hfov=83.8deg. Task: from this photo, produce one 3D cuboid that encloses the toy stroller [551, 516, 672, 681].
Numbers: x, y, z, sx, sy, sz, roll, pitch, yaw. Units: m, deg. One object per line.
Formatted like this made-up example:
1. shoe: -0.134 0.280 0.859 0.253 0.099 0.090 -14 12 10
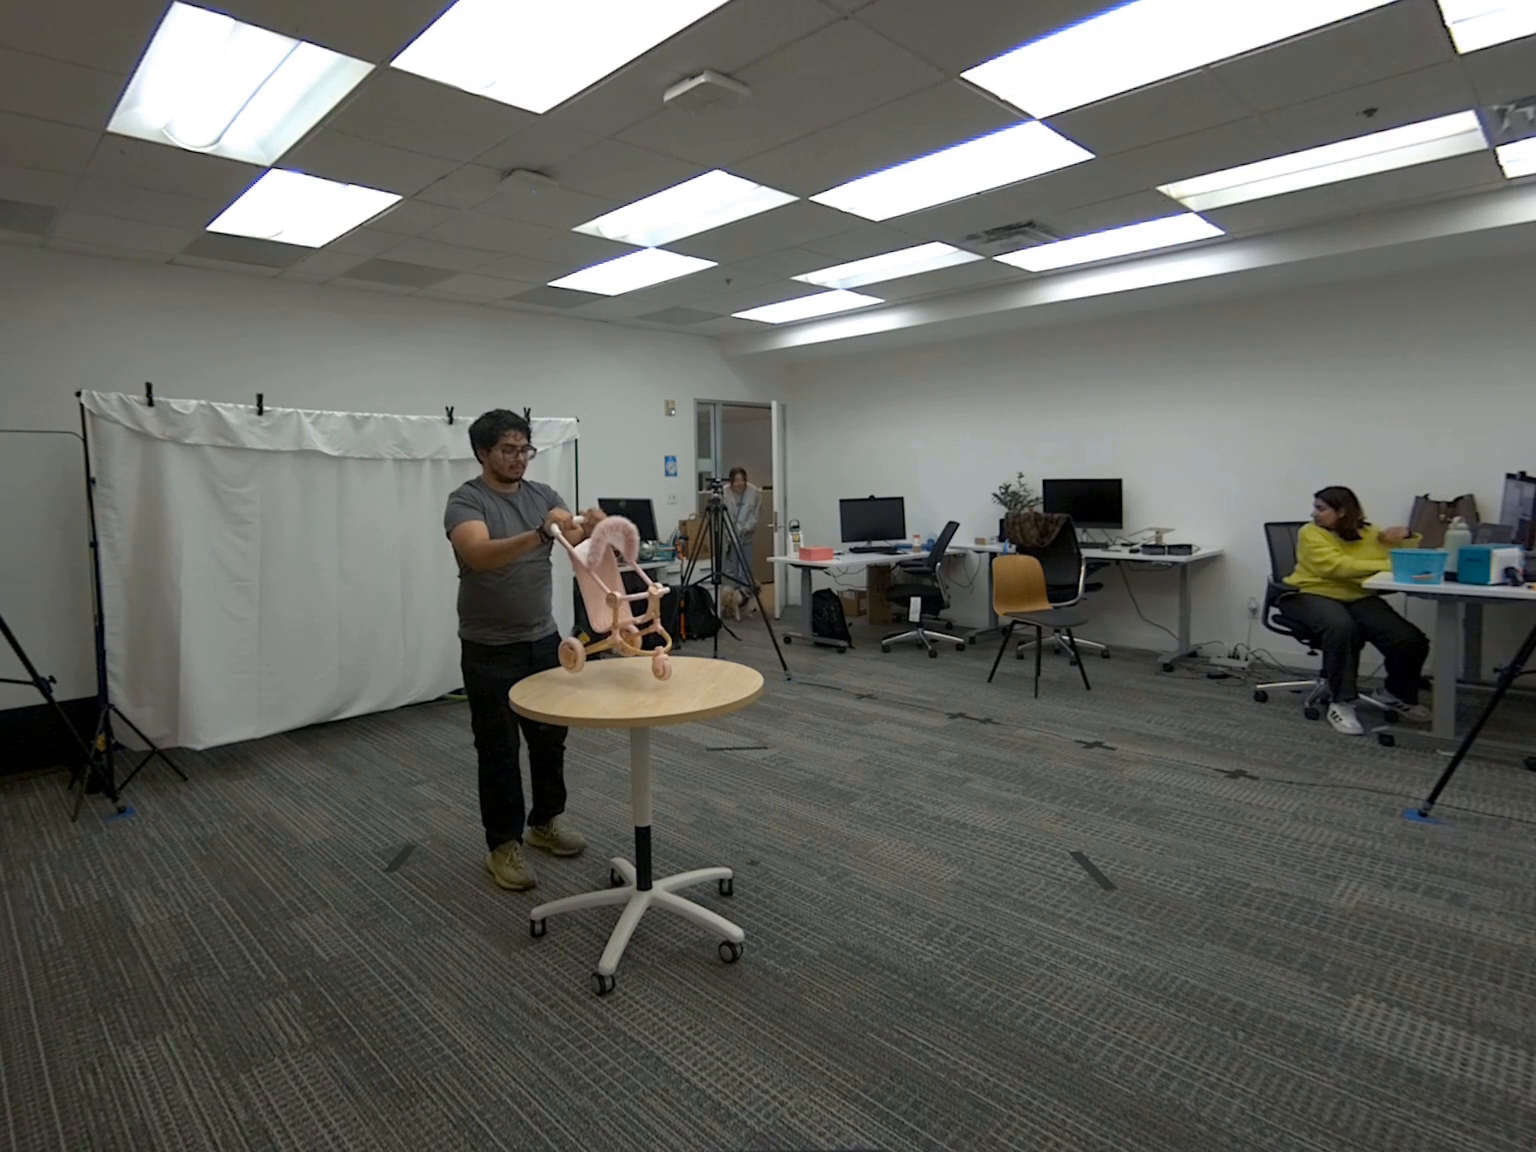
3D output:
1. toy stroller: -0.461 0.061 2.618 0.350 0.536 0.274 -8 -1 40
